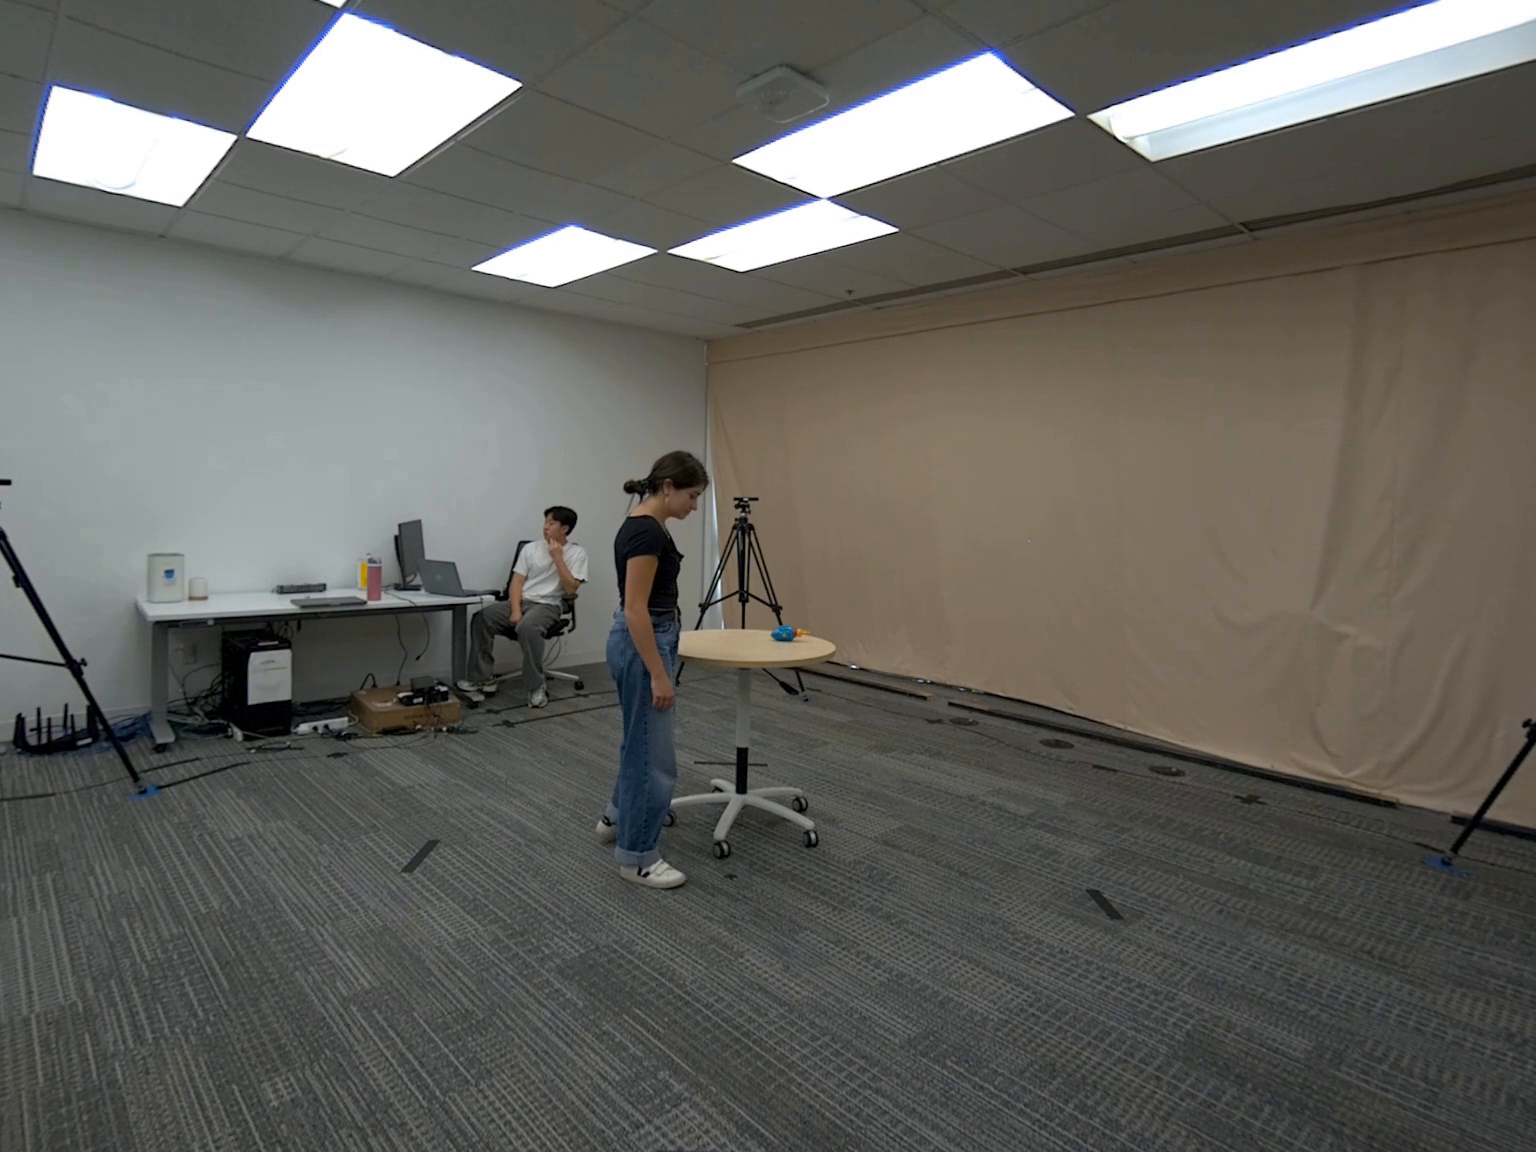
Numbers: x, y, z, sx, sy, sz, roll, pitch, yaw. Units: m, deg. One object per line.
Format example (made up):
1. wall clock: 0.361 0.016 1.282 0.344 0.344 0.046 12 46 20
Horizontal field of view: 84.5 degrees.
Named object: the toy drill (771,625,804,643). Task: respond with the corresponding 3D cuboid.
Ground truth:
1. toy drill: 0.096 0.249 3.694 0.171 0.061 0.145 -6 3 10
